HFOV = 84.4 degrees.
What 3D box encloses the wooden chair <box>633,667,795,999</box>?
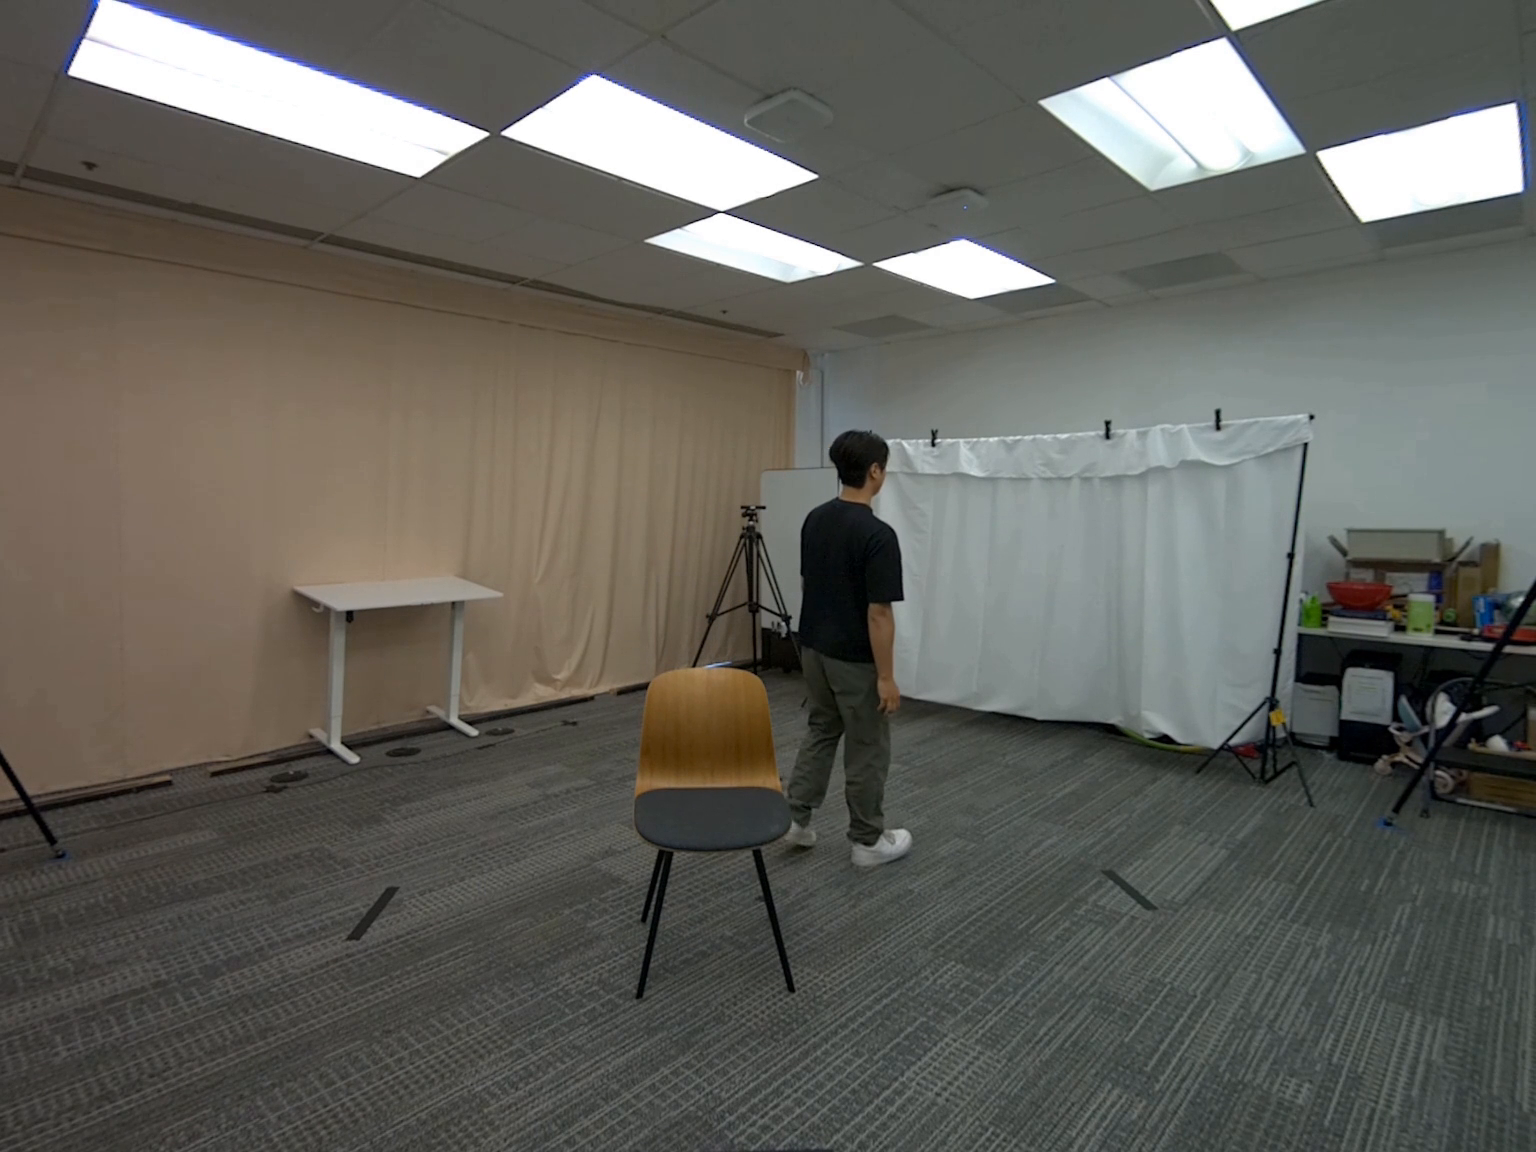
[{"bbox_3d":[-0.166,0.752,2.579,0.475,0.878,0.526,0,-1,-6],"label":"wooden chair"}]
